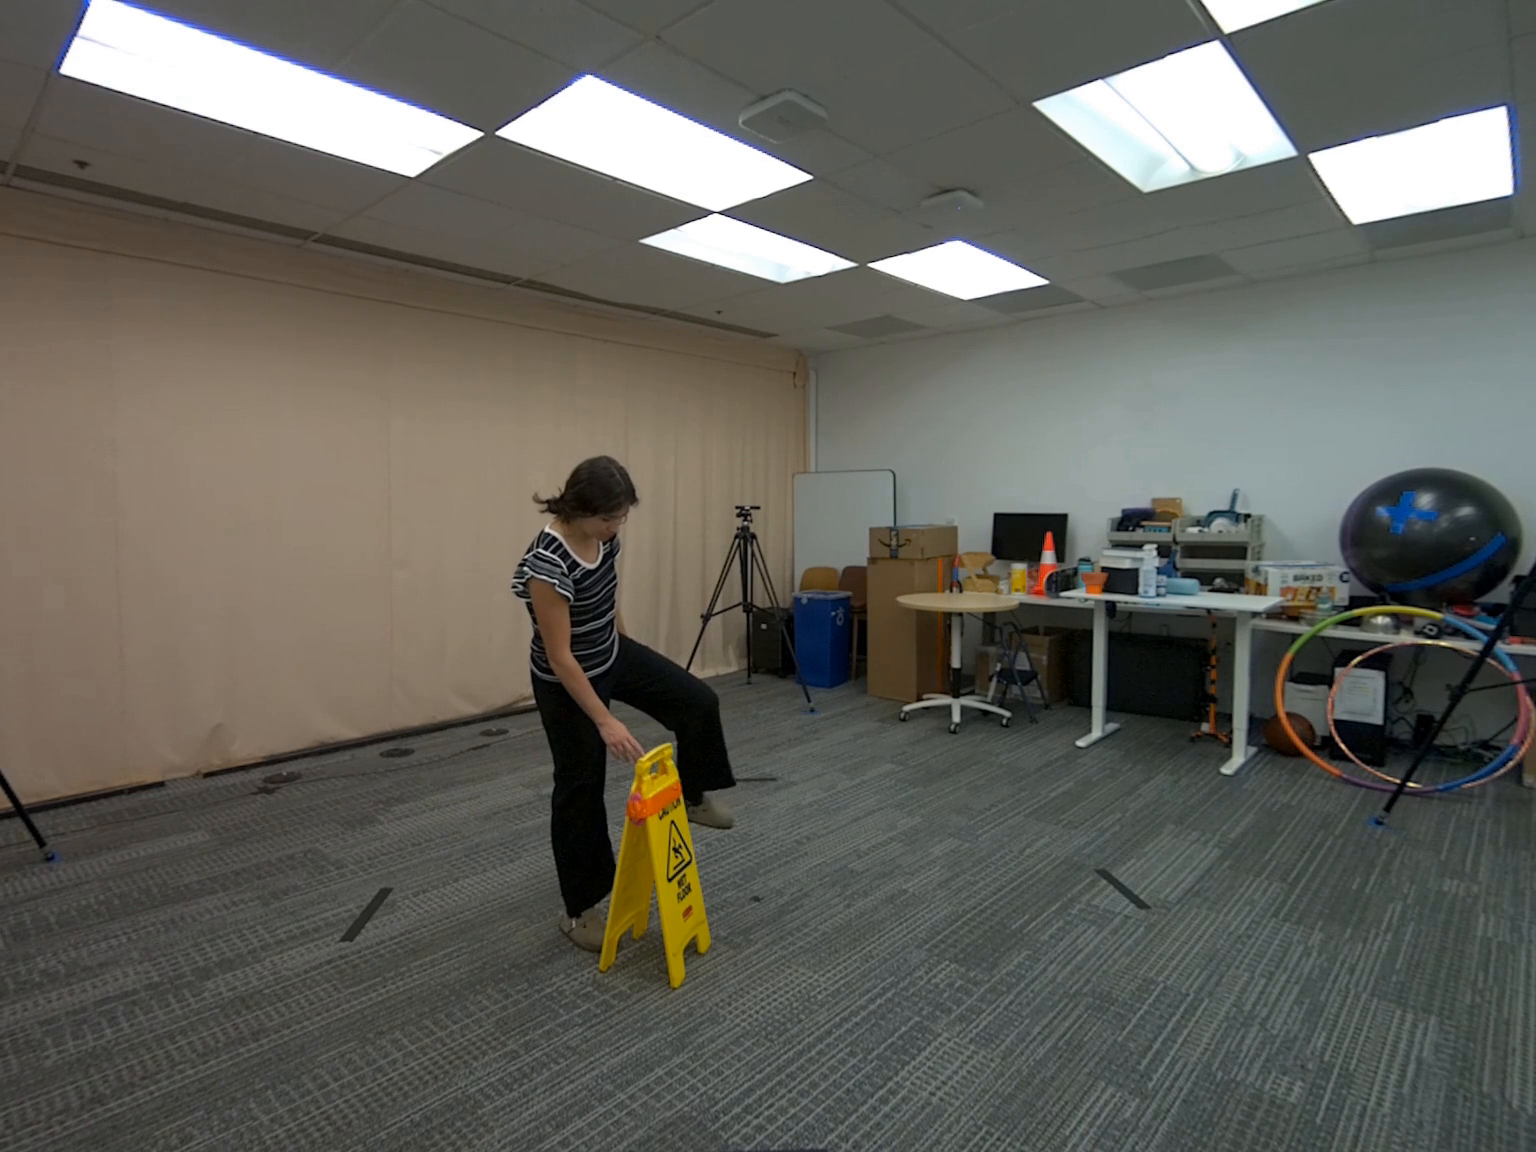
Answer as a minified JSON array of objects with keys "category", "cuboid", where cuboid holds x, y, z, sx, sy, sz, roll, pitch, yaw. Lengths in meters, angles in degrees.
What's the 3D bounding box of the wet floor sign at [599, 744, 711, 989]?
[{"category":"wet floor sign","cuboid":[-0.348,0.858,2.577,0.296,0.645,0.277,0,3,20]}]
